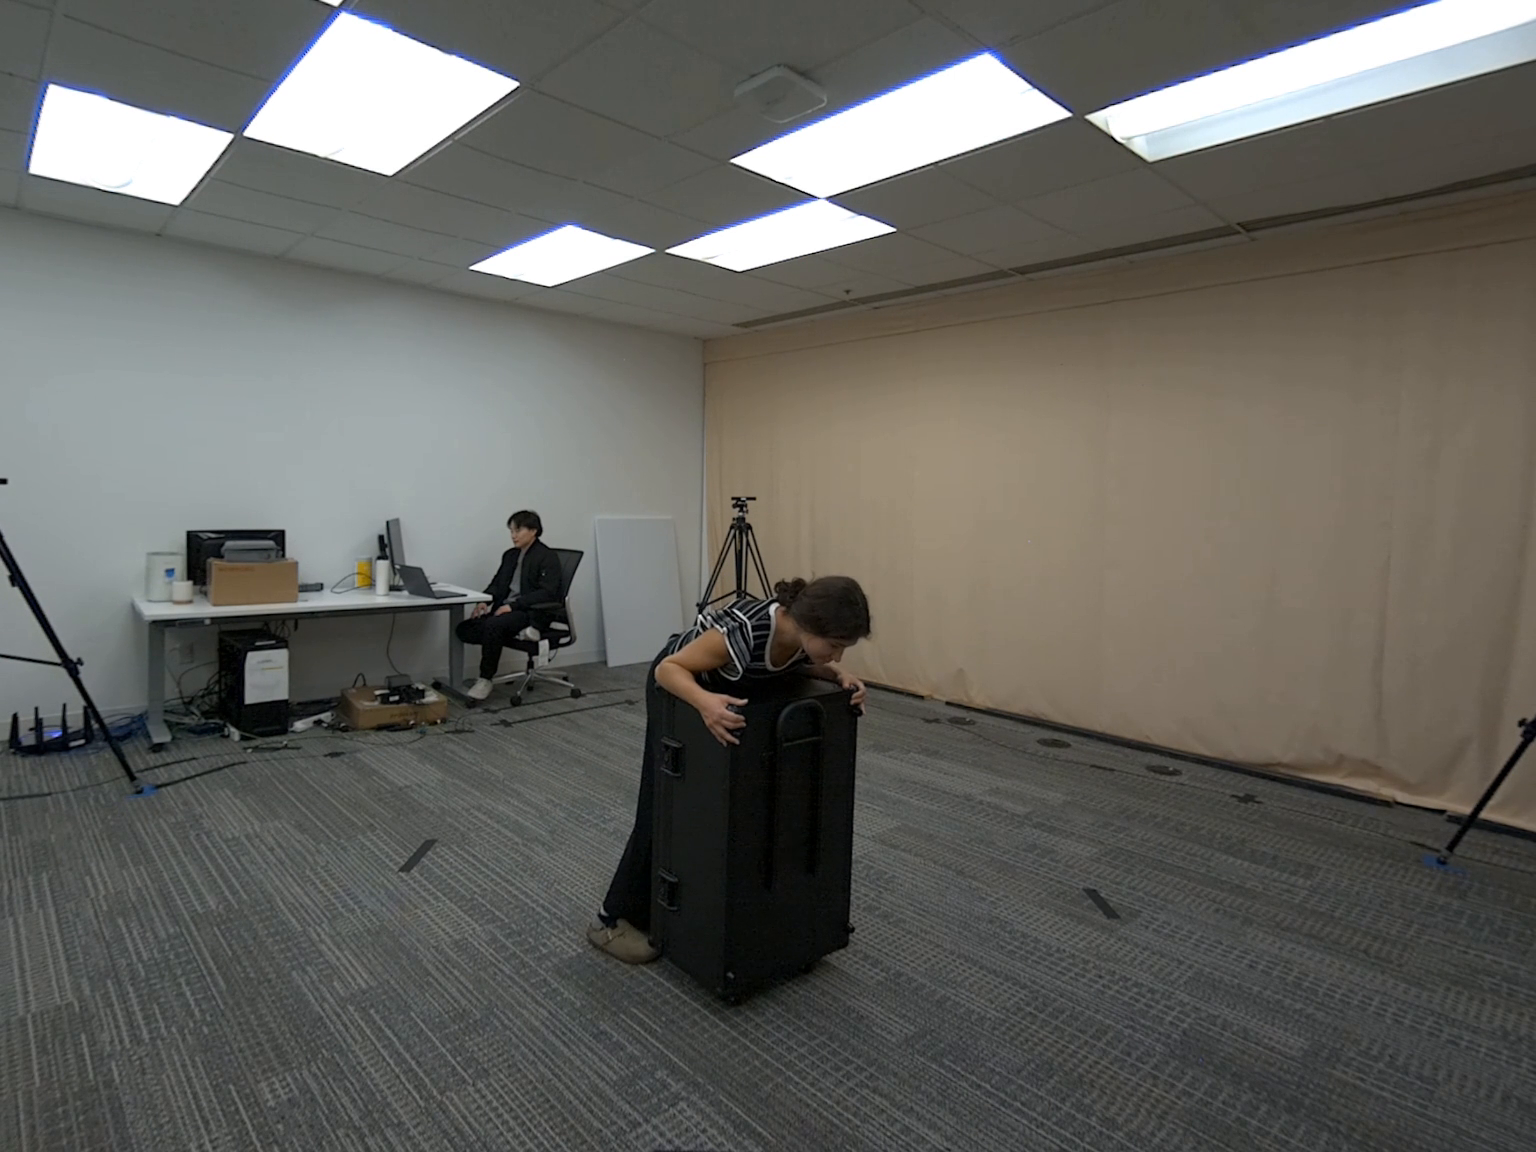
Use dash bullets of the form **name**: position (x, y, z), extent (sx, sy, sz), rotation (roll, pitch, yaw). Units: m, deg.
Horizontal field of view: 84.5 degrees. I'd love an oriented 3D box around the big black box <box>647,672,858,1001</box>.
- **big black box**: position (-0.033, 0.759, 2.460), extent (0.509, 0.859, 0.407), rotation (-1, 6, -41)
